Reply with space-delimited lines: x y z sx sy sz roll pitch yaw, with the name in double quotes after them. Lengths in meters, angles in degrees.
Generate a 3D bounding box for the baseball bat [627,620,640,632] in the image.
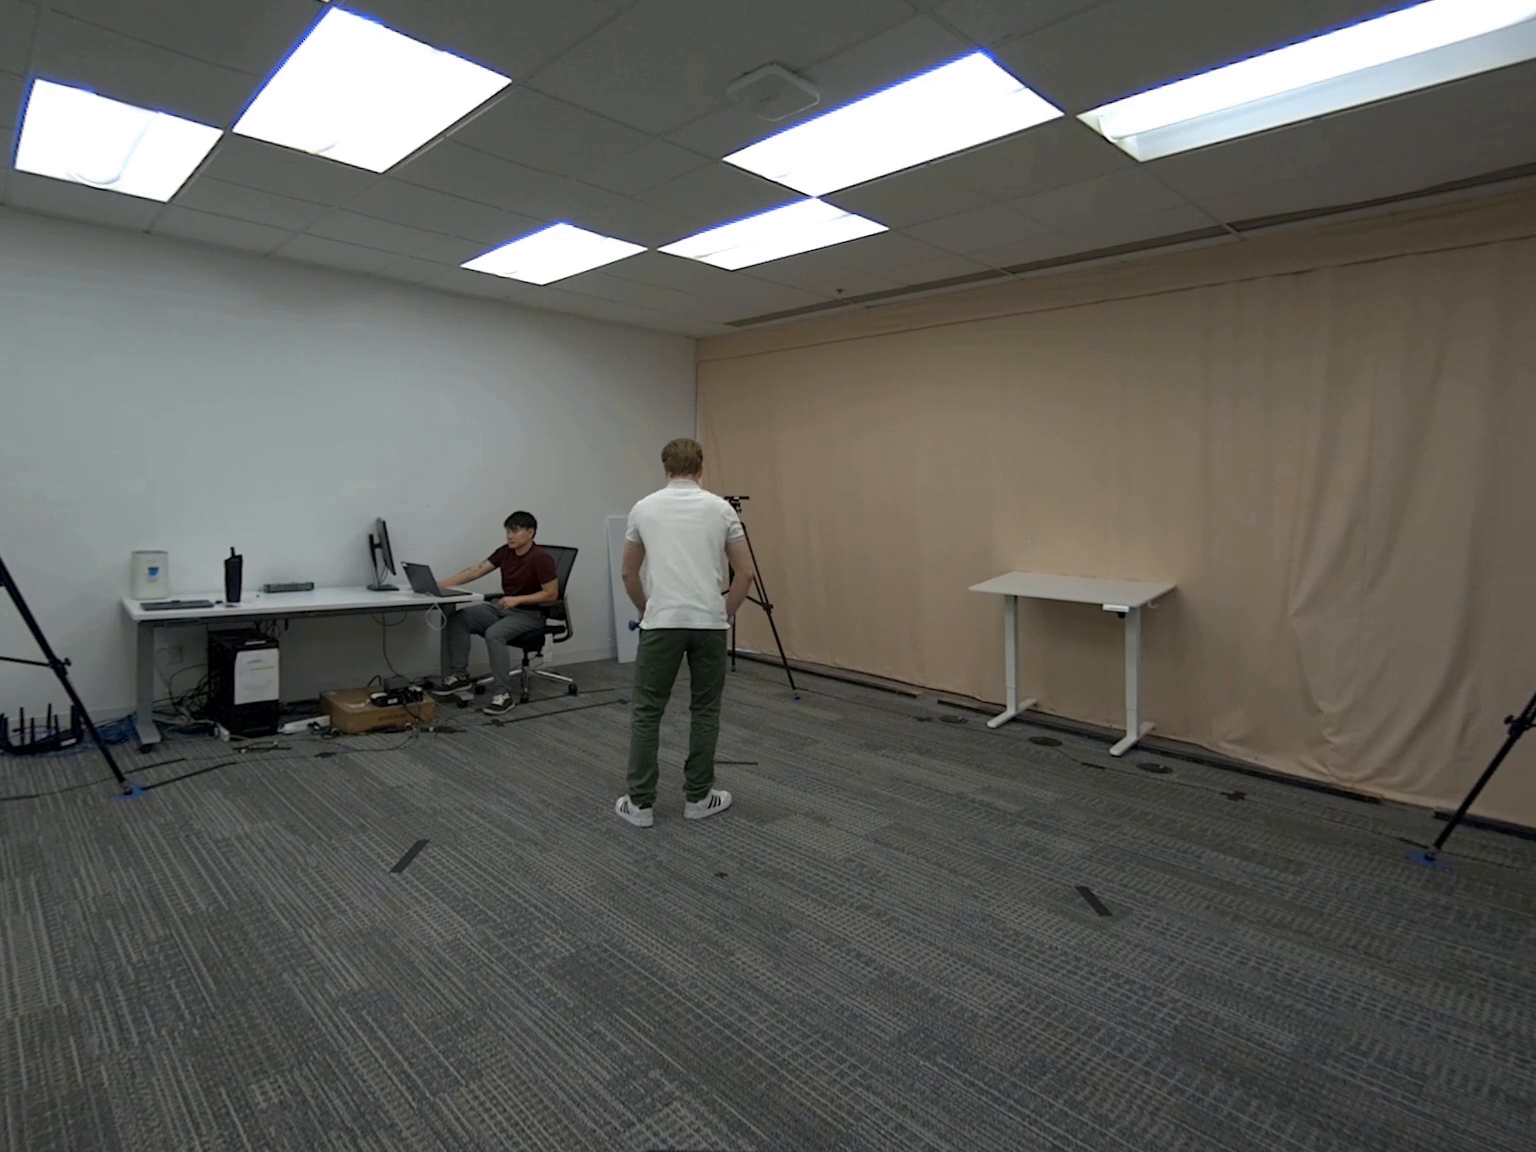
-0.421 0.235 4.074 0.532 0.089 0.091 -2 5 -31 "baseball bat"
